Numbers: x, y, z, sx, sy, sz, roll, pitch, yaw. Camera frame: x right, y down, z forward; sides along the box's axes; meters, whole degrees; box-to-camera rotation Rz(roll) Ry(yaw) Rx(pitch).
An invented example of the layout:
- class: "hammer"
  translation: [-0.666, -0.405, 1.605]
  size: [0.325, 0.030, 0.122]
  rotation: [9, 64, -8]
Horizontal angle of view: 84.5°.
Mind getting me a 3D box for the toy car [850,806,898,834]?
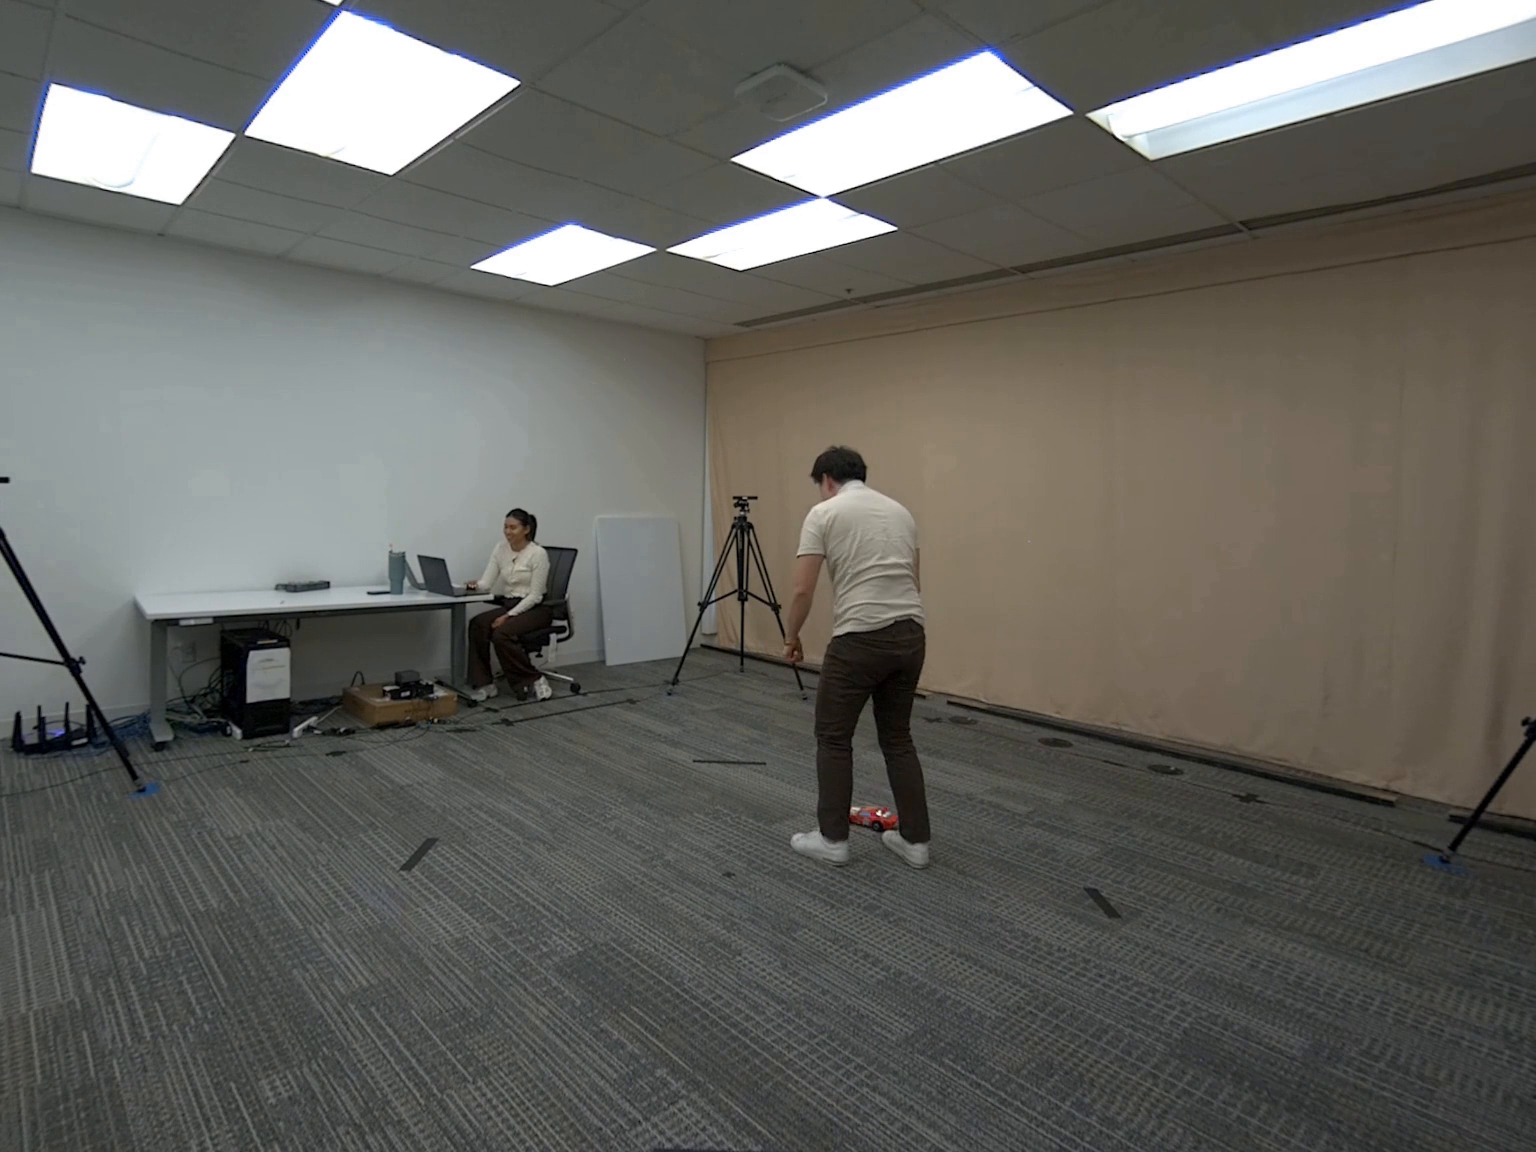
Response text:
- class: "toy car"
  translation: [0.436, 1.041, 3.624]
  size: [0.259, 0.083, 0.128]
  rotation: [-9, -2, 32]
